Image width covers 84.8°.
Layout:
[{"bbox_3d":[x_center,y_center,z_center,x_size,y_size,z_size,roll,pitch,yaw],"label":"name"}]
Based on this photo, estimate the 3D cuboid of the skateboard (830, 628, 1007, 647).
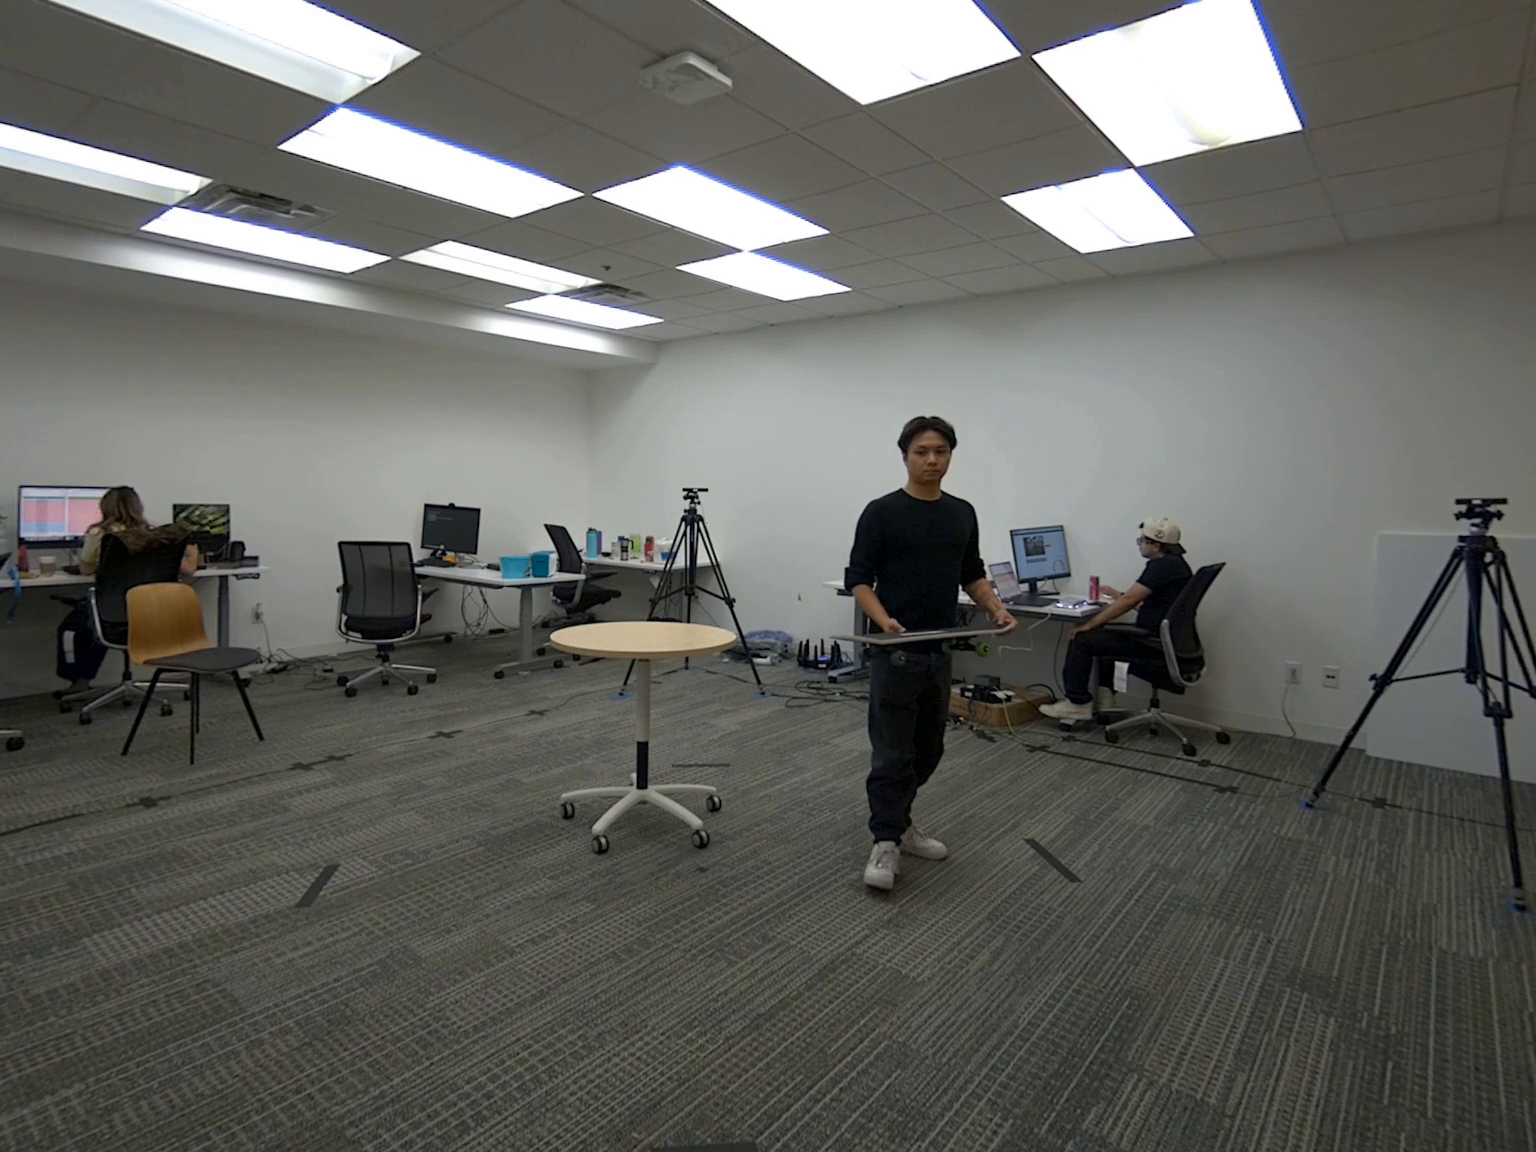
[{"bbox_3d":[0.531,0.237,2.897,0.763,0.110,0.199,-1,-1,-32],"label":"skateboard"}]
